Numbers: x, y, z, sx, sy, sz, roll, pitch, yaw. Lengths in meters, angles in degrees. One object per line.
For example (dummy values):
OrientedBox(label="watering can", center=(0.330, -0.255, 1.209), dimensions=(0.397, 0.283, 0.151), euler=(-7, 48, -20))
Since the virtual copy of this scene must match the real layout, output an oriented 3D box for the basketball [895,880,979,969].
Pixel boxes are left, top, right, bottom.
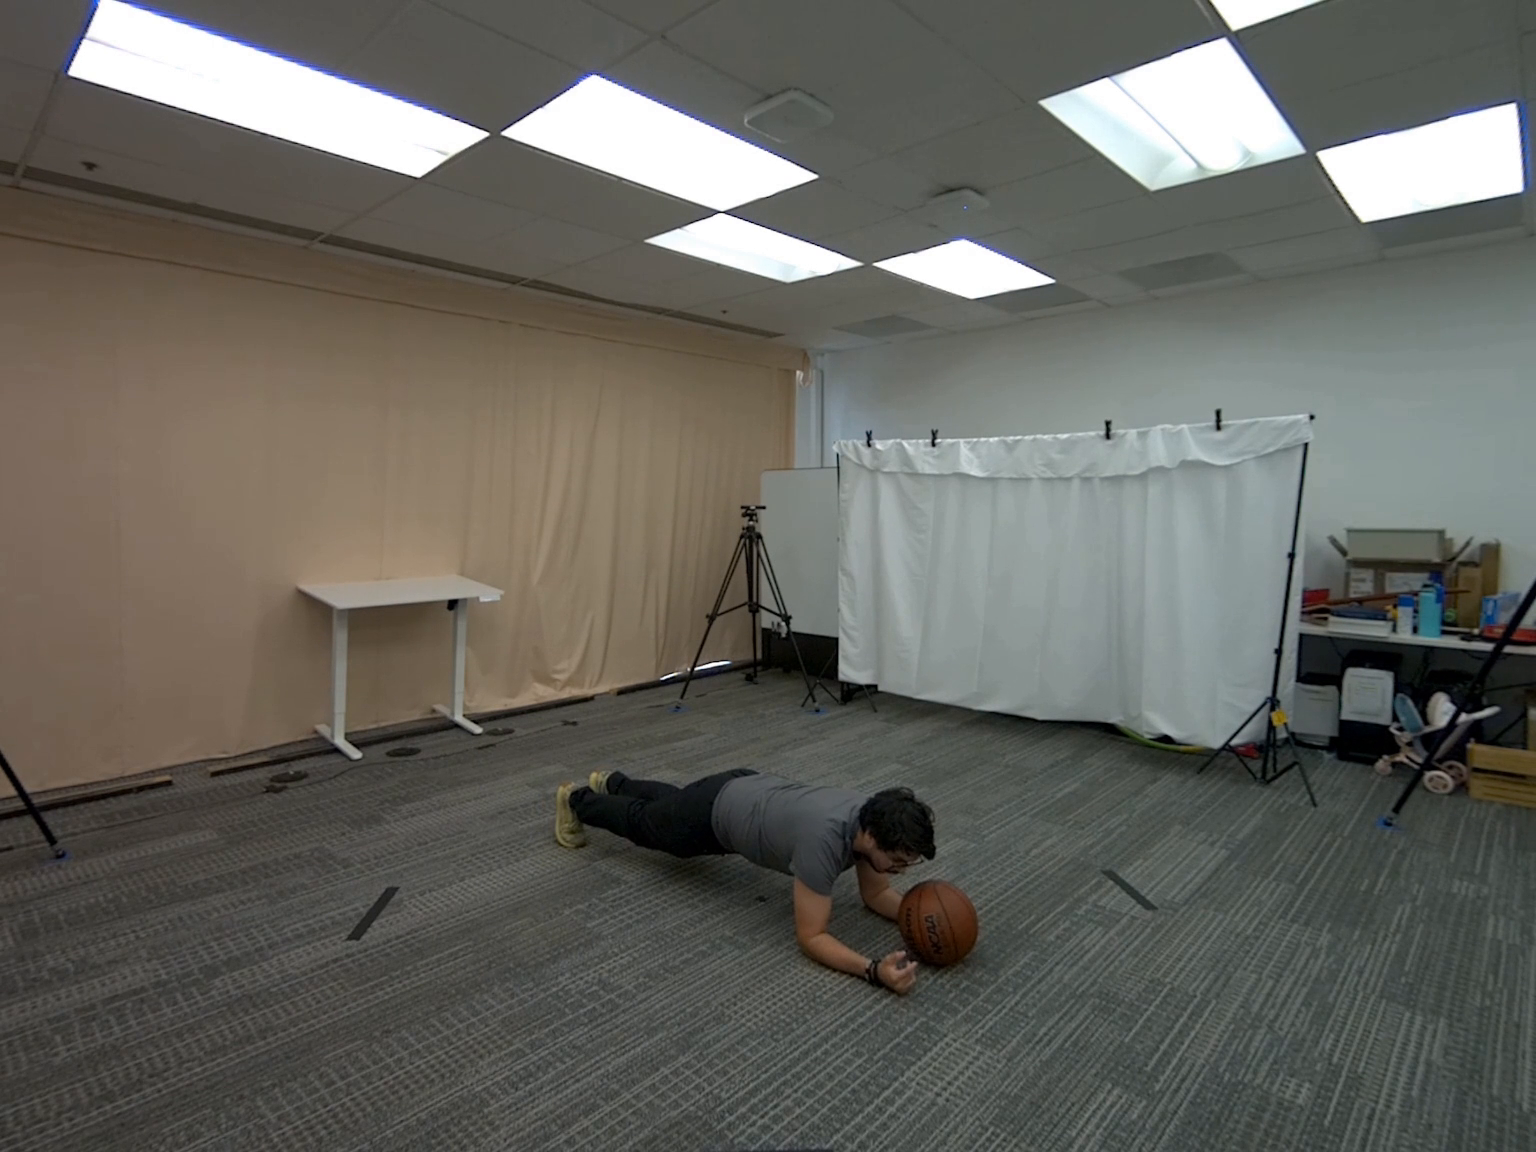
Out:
OrientedBox(label="basketball", center=(0.523, 1.058, 2.577), dimensions=(0.236, 0.235, 0.237), euler=(0, 4, -2))
